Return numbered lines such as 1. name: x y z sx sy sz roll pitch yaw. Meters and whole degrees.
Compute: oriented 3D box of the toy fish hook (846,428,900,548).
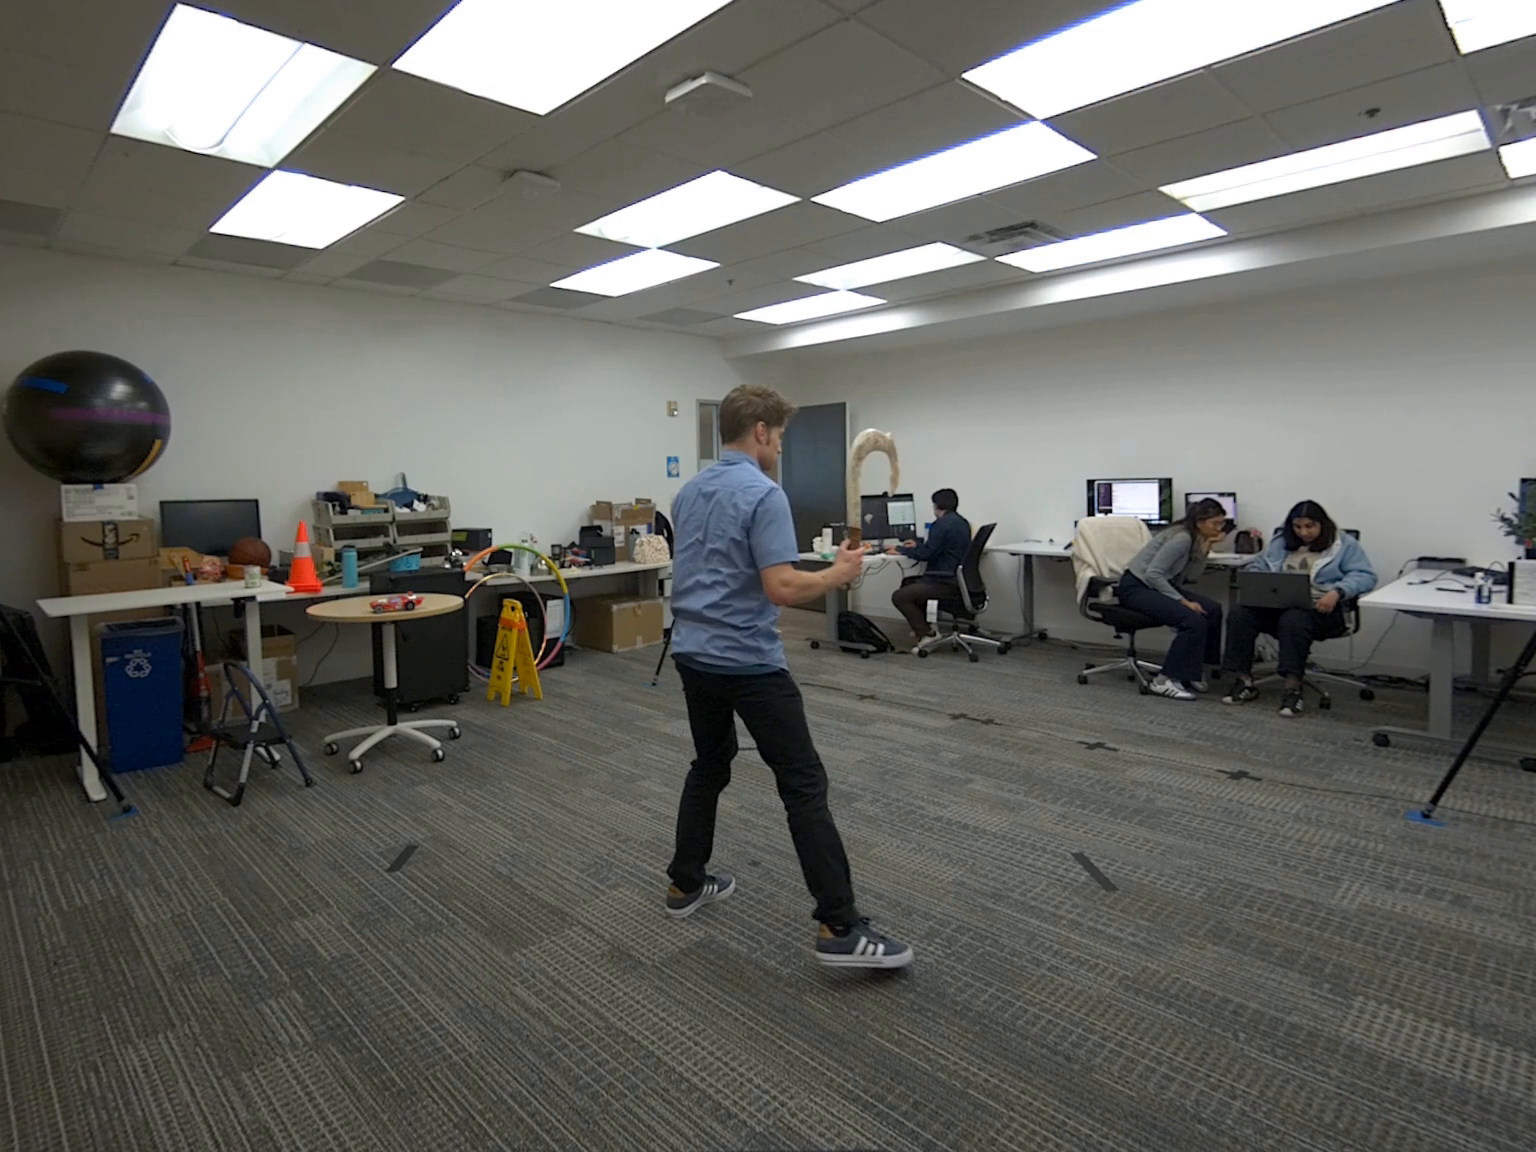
1. toy fish hook: 0.319 -0.196 2.659 0.218 0.506 0.050 8 1 -32
